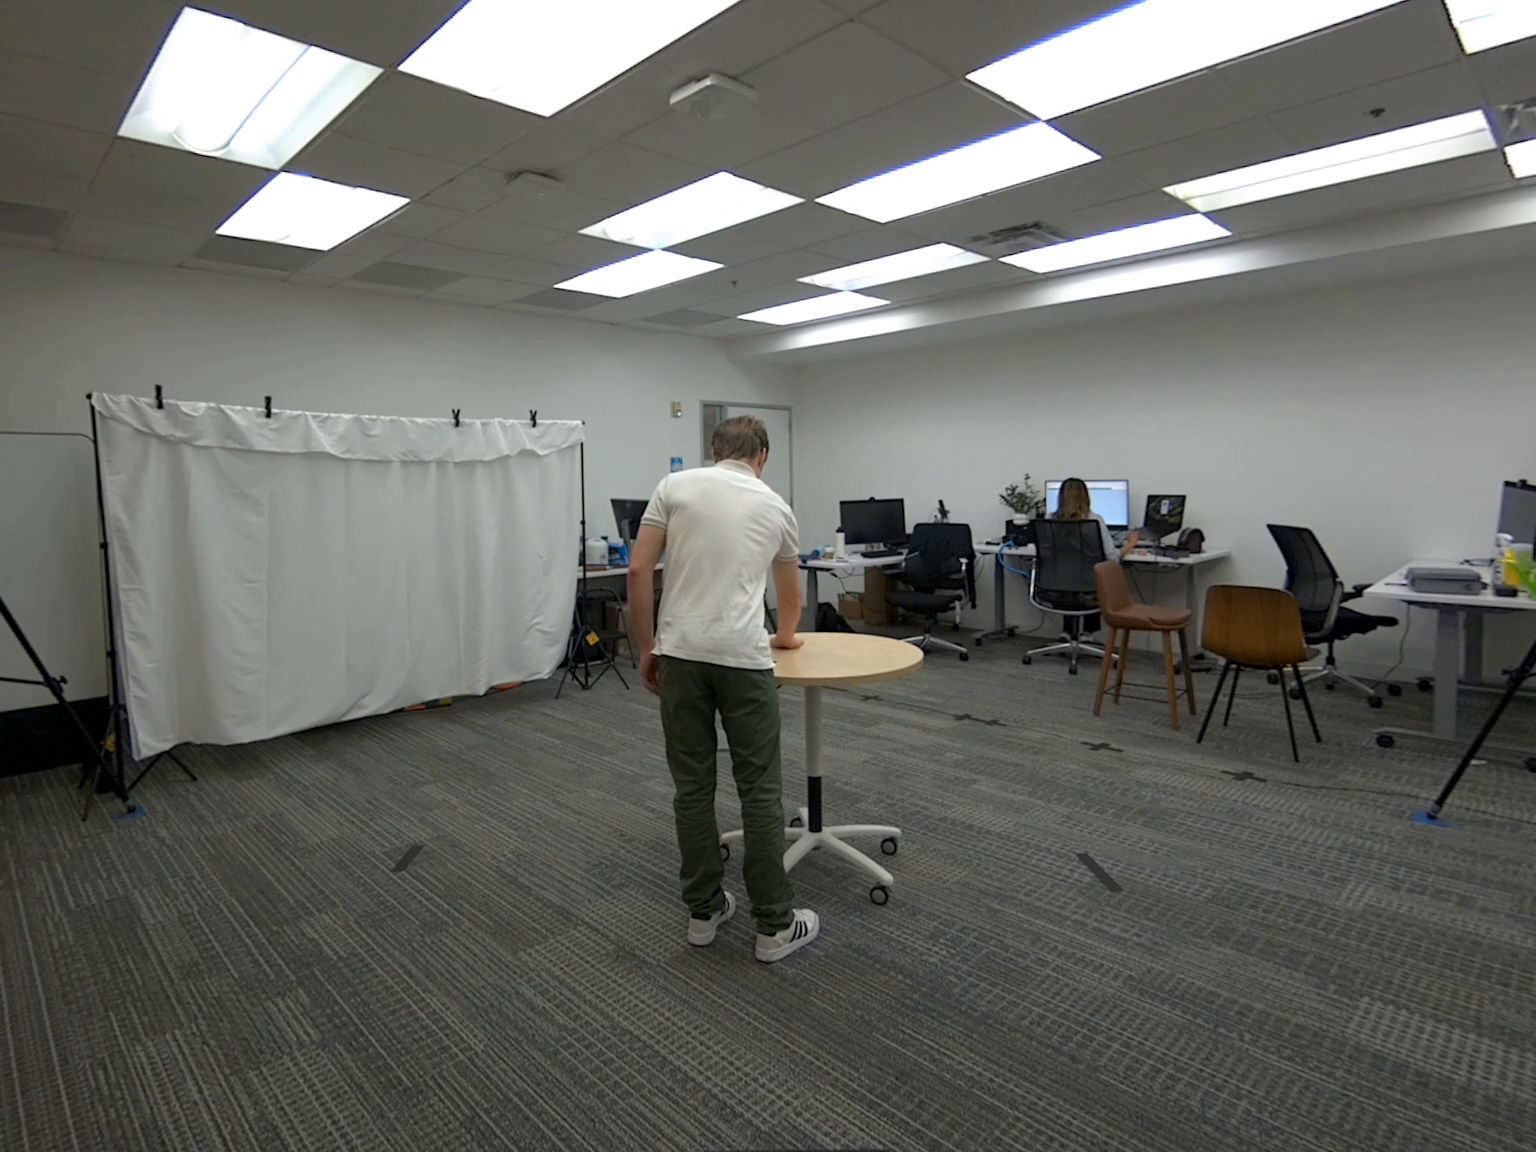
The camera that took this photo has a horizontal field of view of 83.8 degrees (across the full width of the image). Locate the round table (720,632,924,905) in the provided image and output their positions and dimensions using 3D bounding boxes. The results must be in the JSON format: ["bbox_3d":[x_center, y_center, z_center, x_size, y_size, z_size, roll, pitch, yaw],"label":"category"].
[{"bbox_3d":[0.182,0.656,3.045,0.784,0.783,0.789,-1,5,-2],"label":"round table"}]
